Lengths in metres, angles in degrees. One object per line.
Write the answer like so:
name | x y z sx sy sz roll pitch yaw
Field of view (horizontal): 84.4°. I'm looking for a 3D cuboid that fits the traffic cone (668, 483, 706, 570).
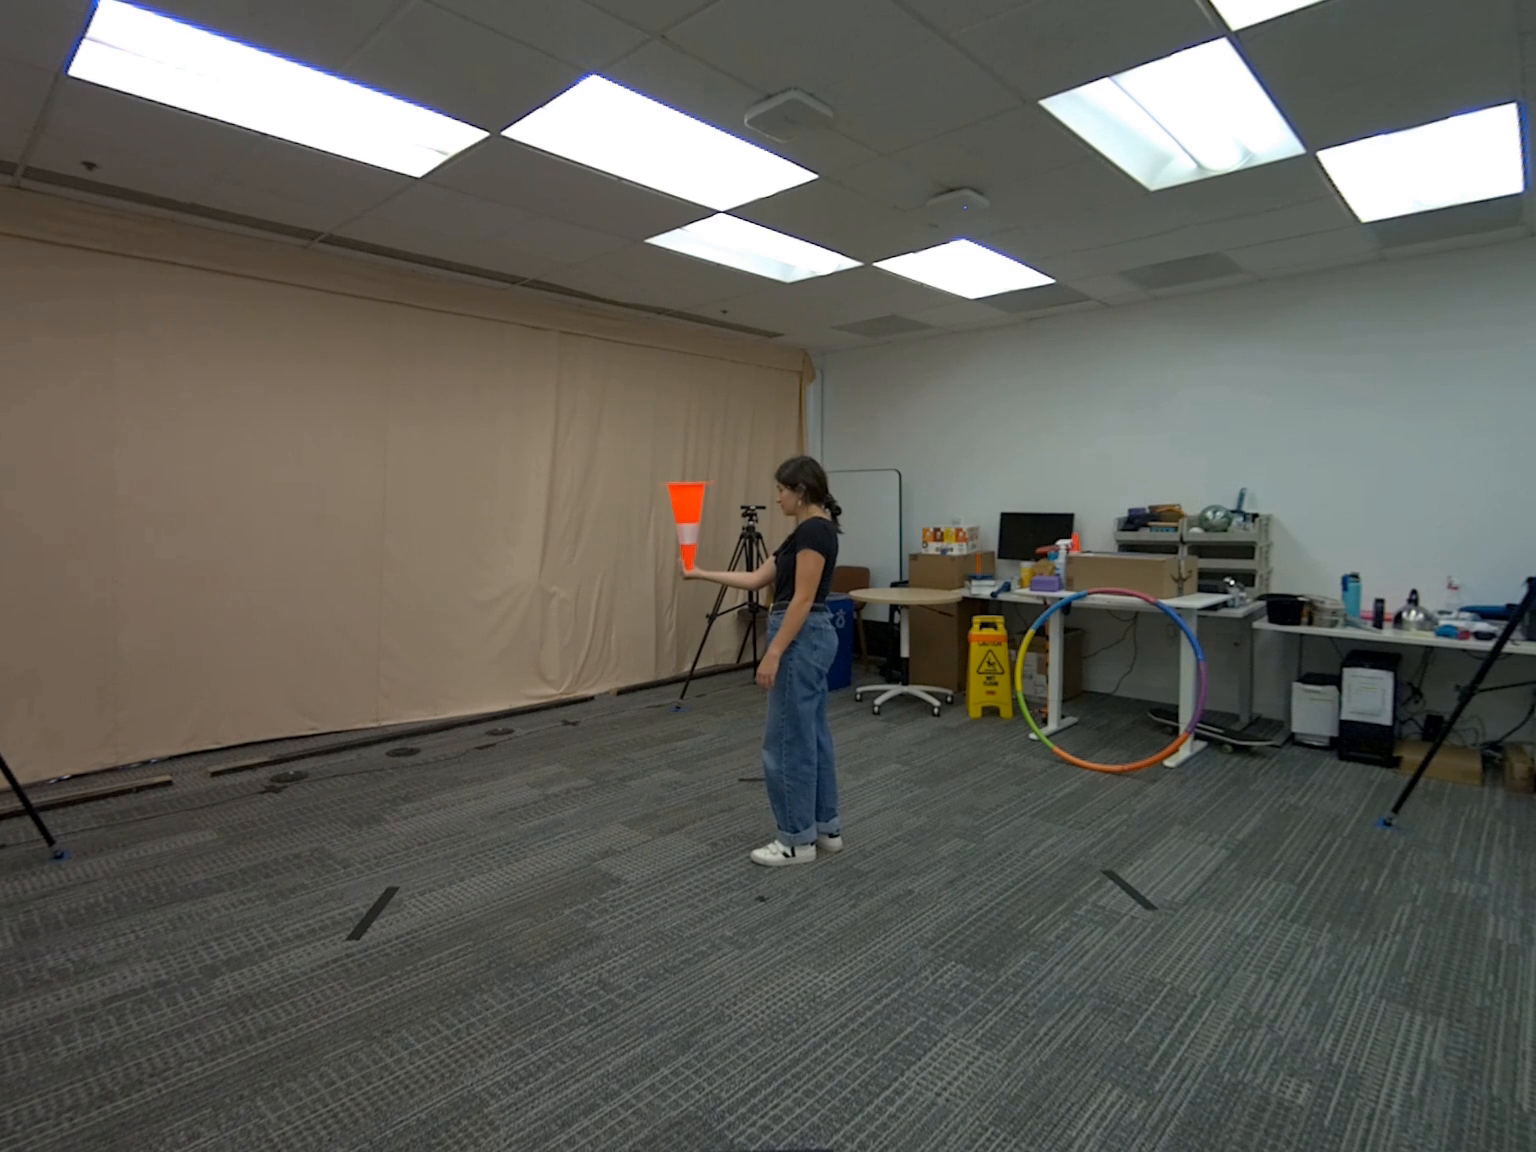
traffic cone | -0.333 -0.191 3.584 0.204 0.383 0.204 -3 2 2
